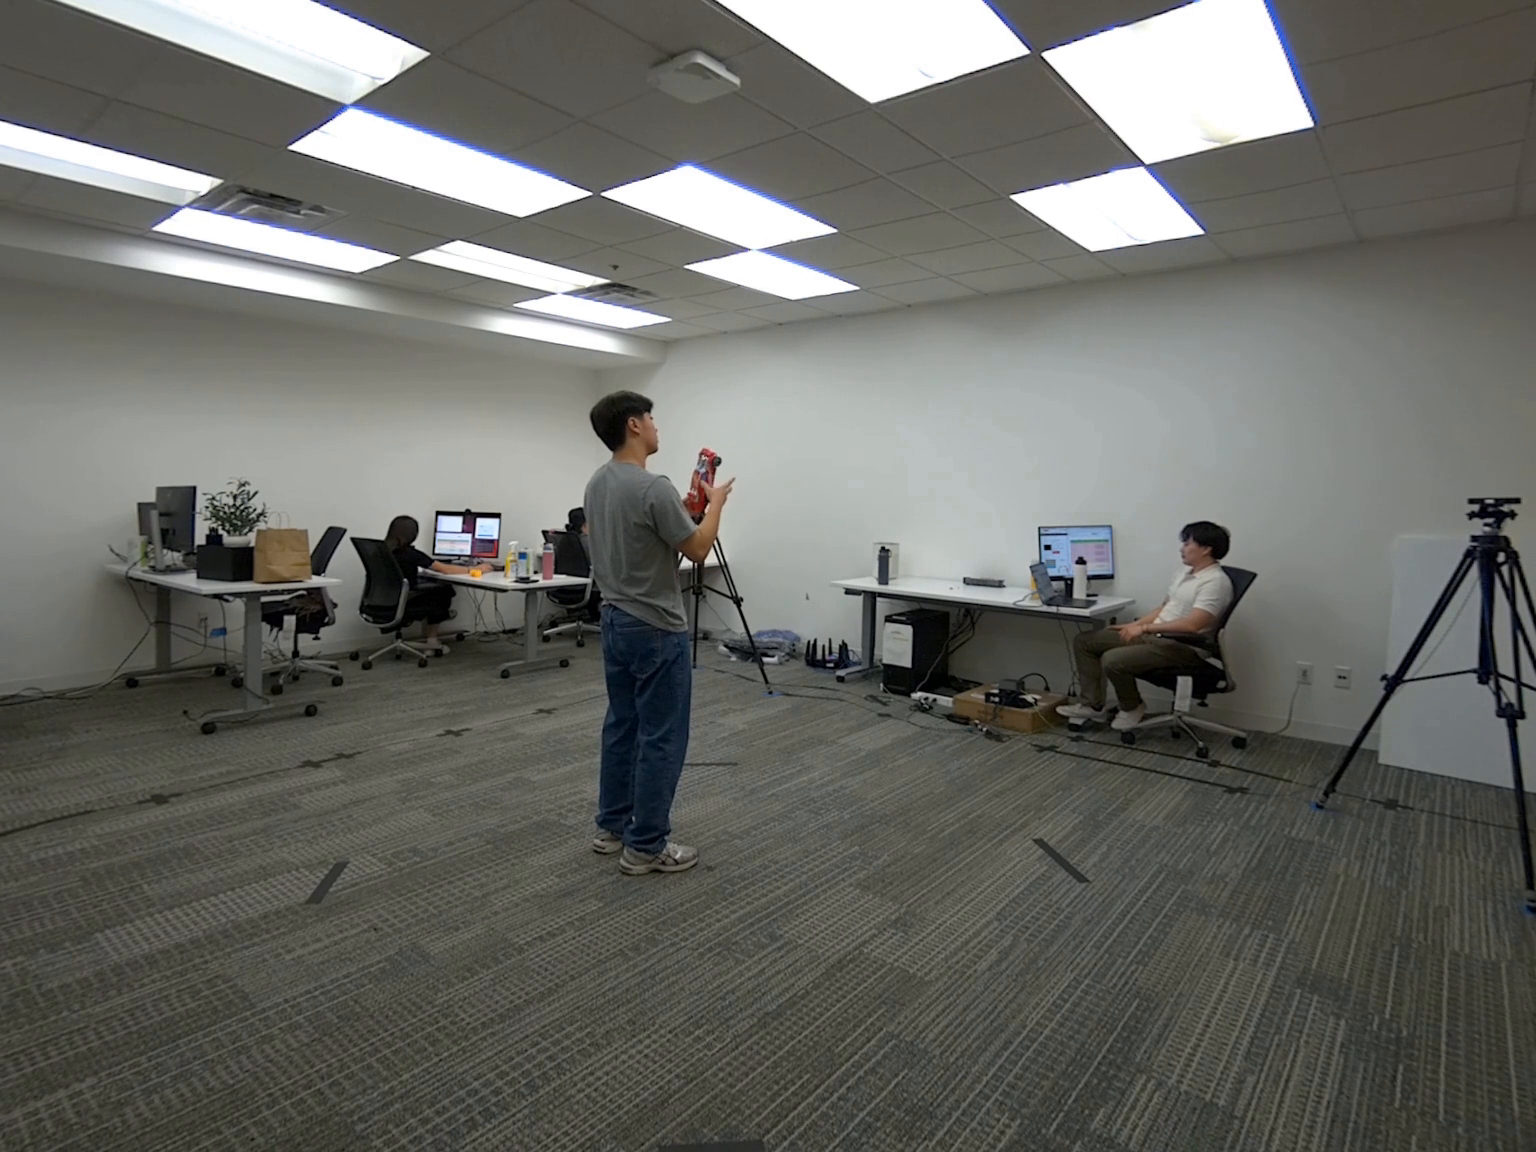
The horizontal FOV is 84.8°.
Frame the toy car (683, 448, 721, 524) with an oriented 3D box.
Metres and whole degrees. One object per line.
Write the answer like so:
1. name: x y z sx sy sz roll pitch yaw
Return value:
1. toy car: -0.264 -0.383 3.387 0.080 0.253 0.135 14 11 -36
